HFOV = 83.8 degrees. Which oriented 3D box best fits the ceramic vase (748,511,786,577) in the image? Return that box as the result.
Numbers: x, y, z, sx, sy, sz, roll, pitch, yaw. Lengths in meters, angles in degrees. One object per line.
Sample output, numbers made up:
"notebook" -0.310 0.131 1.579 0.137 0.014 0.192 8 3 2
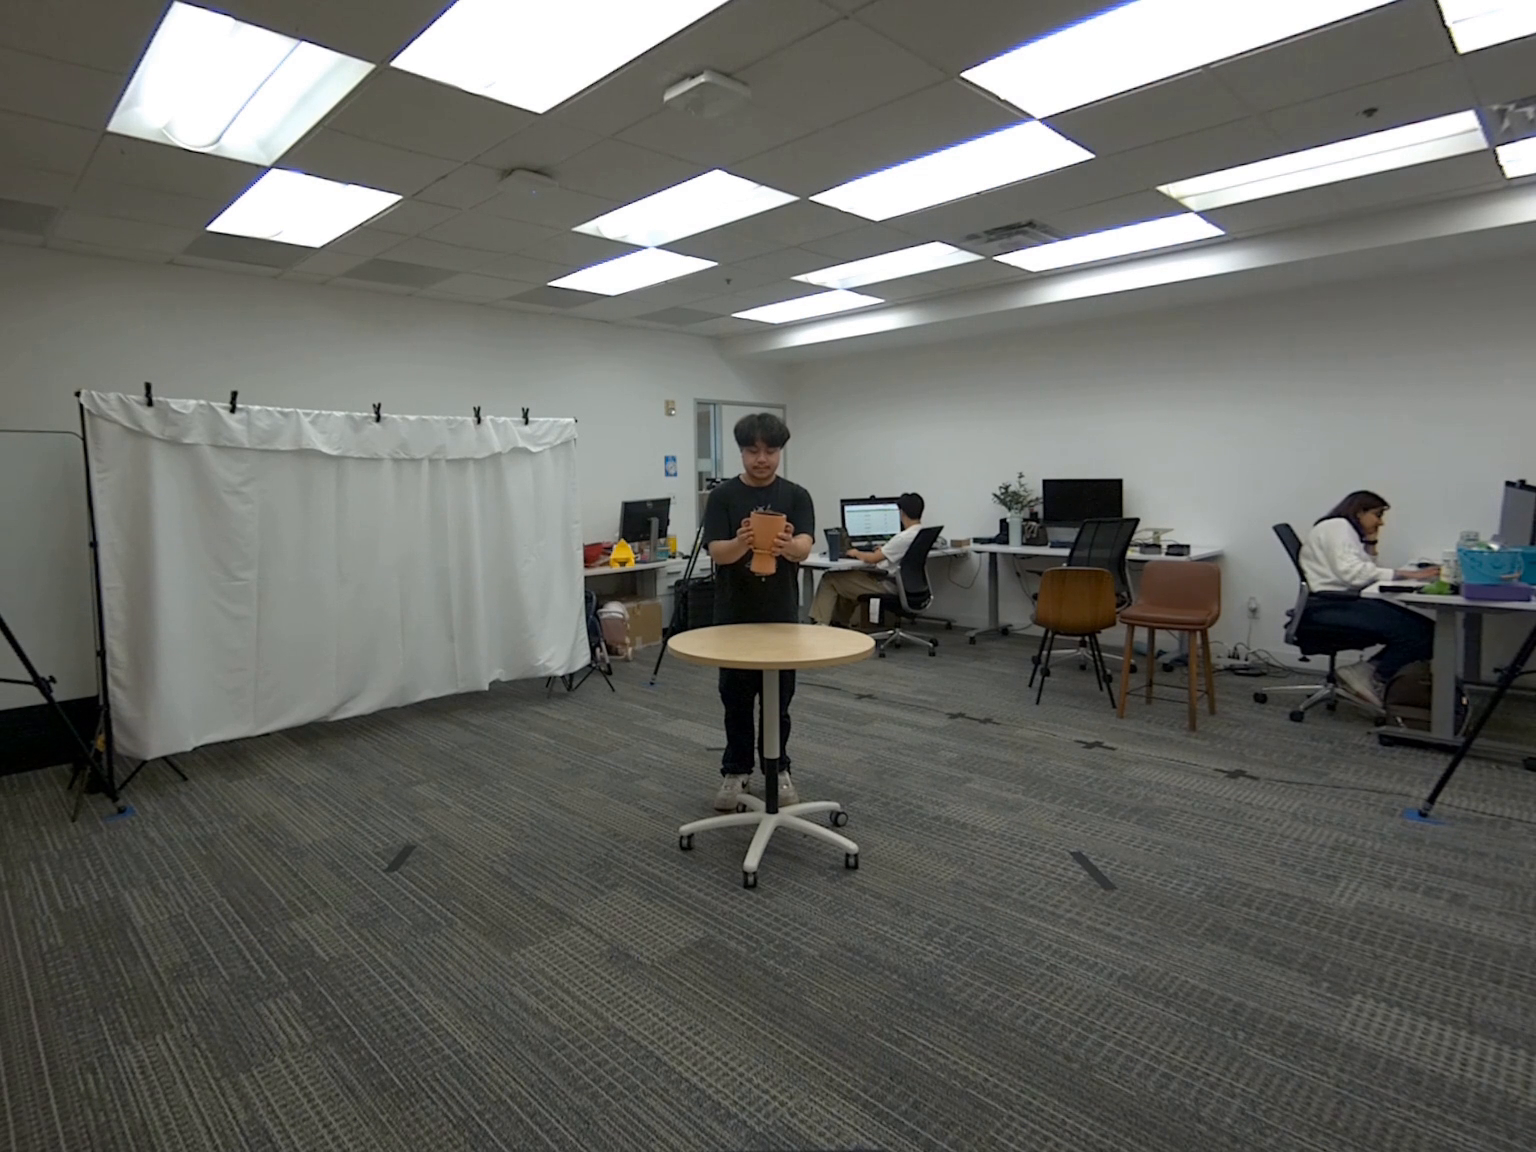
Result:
"ceramic vase" -0.007 -0.127 3.247 0.131 0.218 0.164 -2 12 -45
